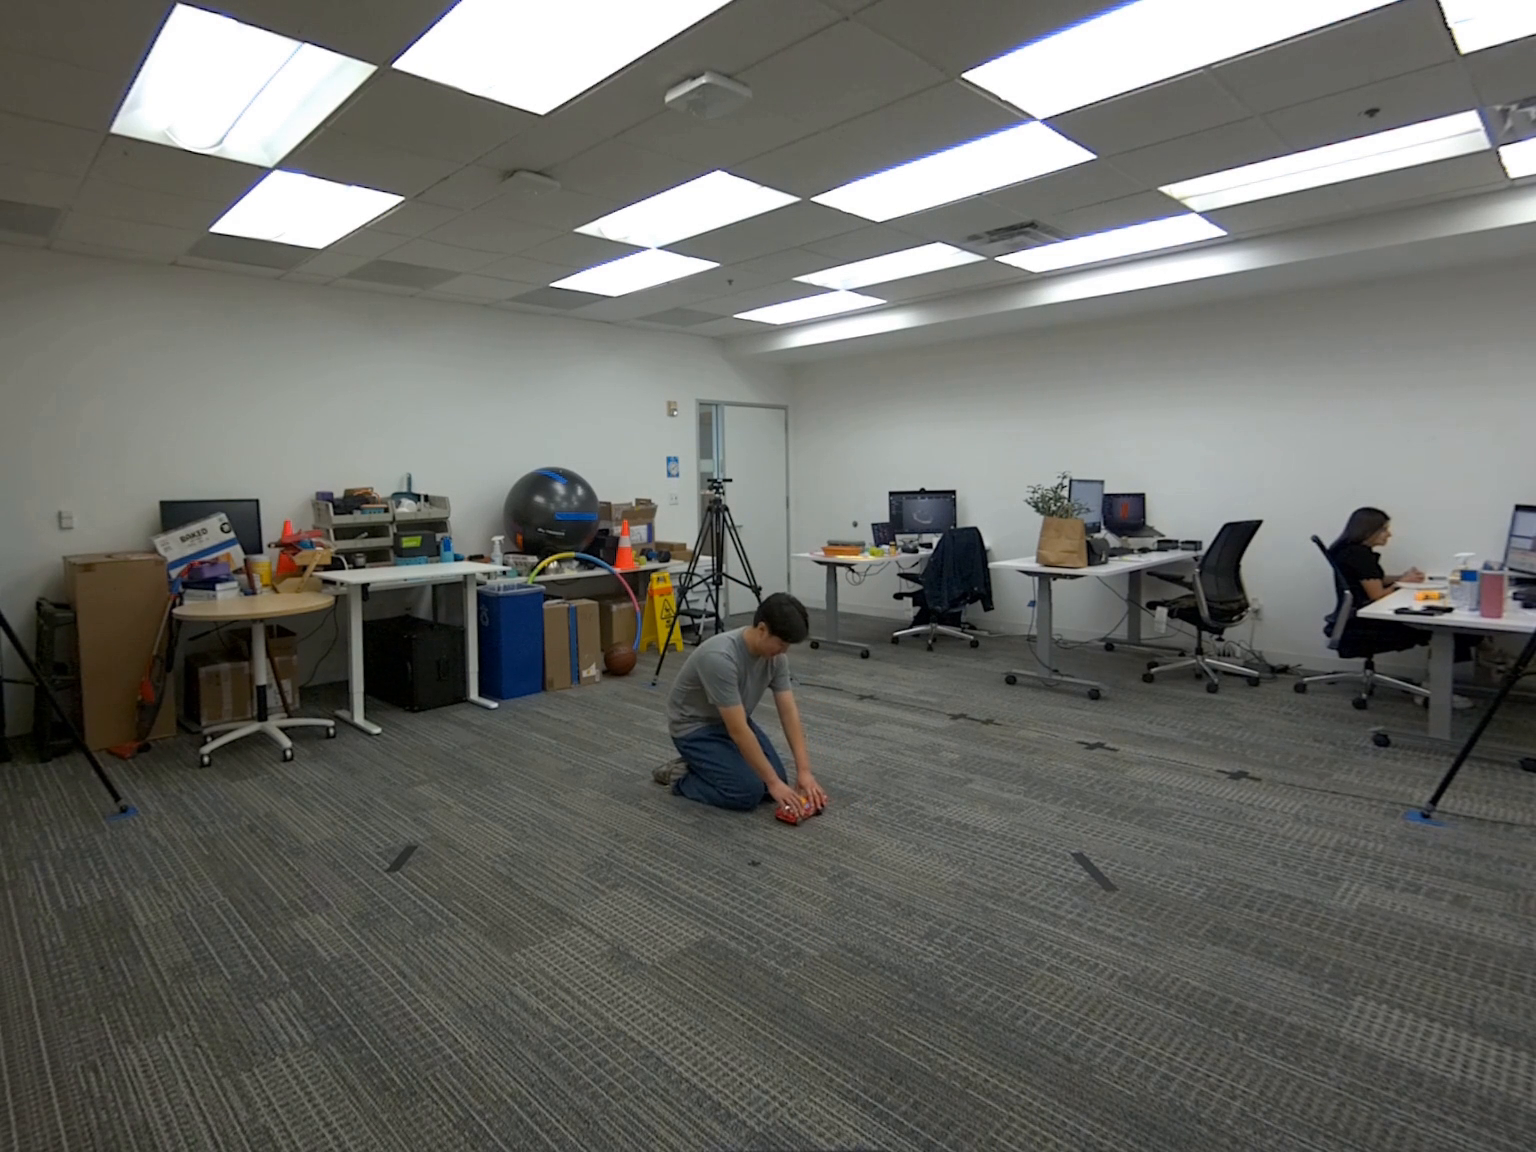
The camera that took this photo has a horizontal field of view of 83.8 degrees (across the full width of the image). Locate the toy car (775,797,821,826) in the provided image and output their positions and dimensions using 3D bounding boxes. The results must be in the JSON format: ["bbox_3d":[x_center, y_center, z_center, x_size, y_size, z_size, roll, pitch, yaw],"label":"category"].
[{"bbox_3d":[0.155,0.964,3.540,0.134,0.082,0.250,5,18,43],"label":"toy car"}]
